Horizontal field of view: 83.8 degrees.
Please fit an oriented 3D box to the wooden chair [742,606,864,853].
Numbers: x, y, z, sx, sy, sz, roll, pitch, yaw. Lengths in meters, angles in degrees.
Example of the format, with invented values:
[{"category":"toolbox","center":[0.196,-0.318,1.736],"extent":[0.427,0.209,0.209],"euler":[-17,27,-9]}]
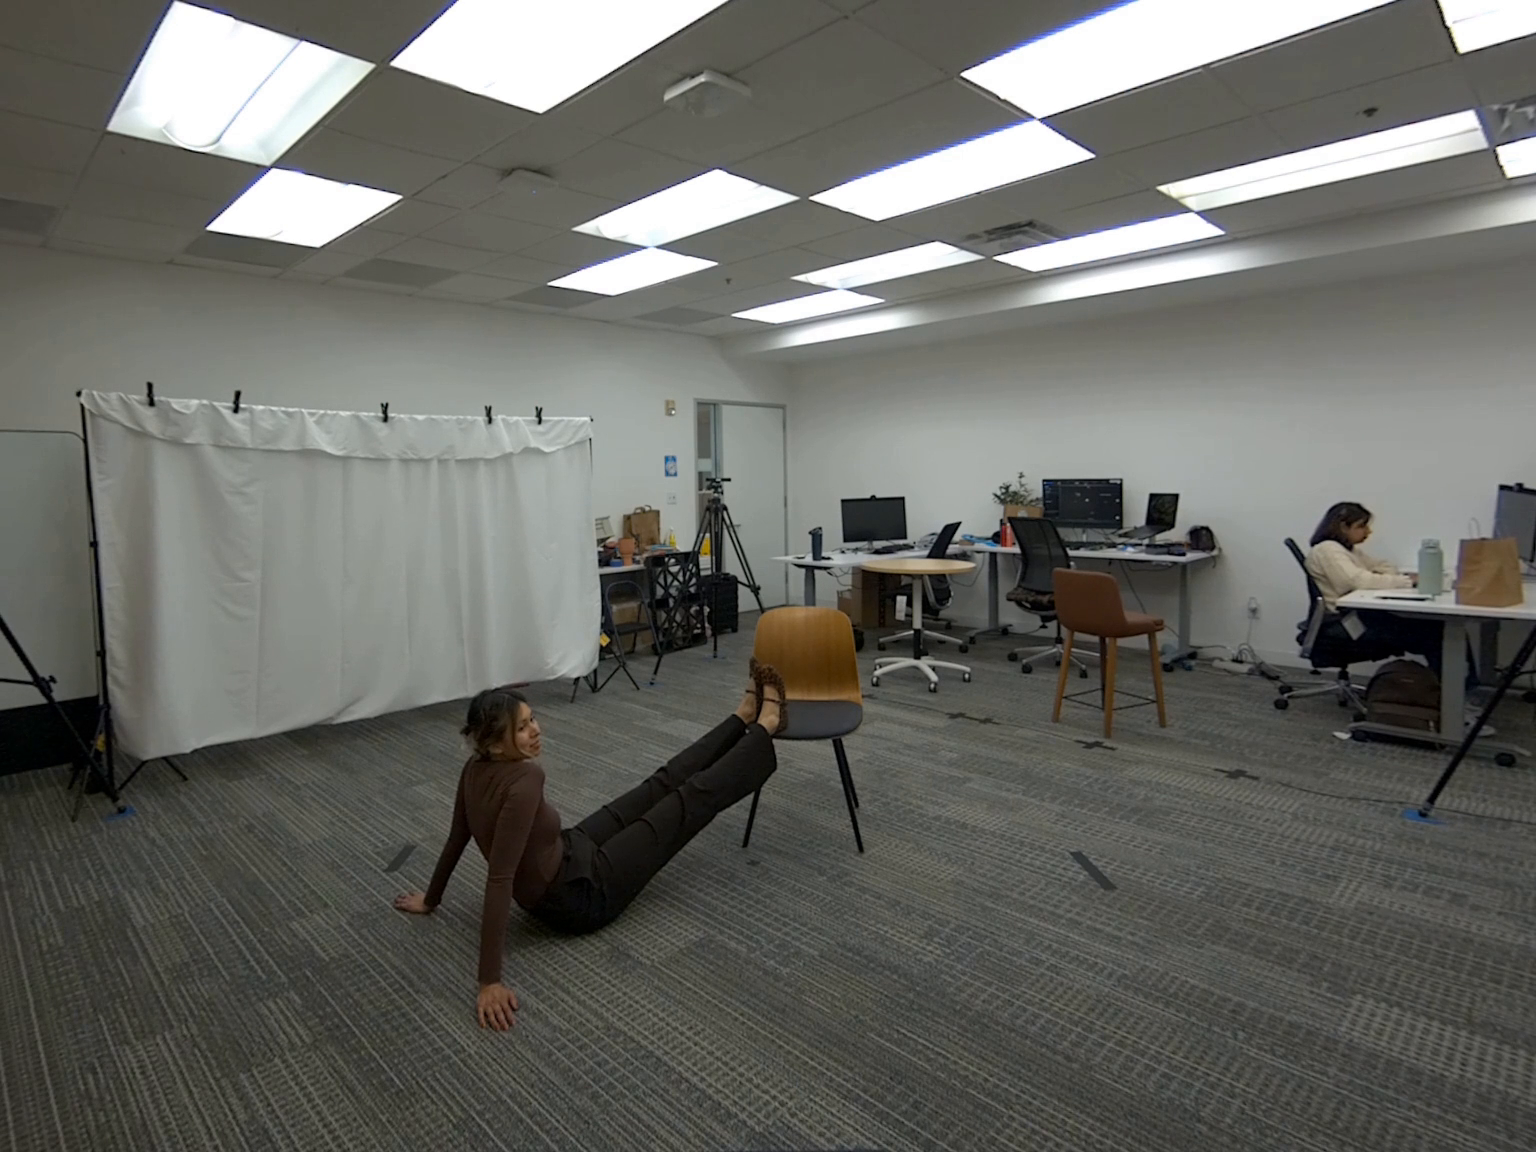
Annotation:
[{"category":"wooden chair","center":[0.140,0.579,3.387],"extent":[0.481,0.878,0.519],"euler":[0,0,6]}]
